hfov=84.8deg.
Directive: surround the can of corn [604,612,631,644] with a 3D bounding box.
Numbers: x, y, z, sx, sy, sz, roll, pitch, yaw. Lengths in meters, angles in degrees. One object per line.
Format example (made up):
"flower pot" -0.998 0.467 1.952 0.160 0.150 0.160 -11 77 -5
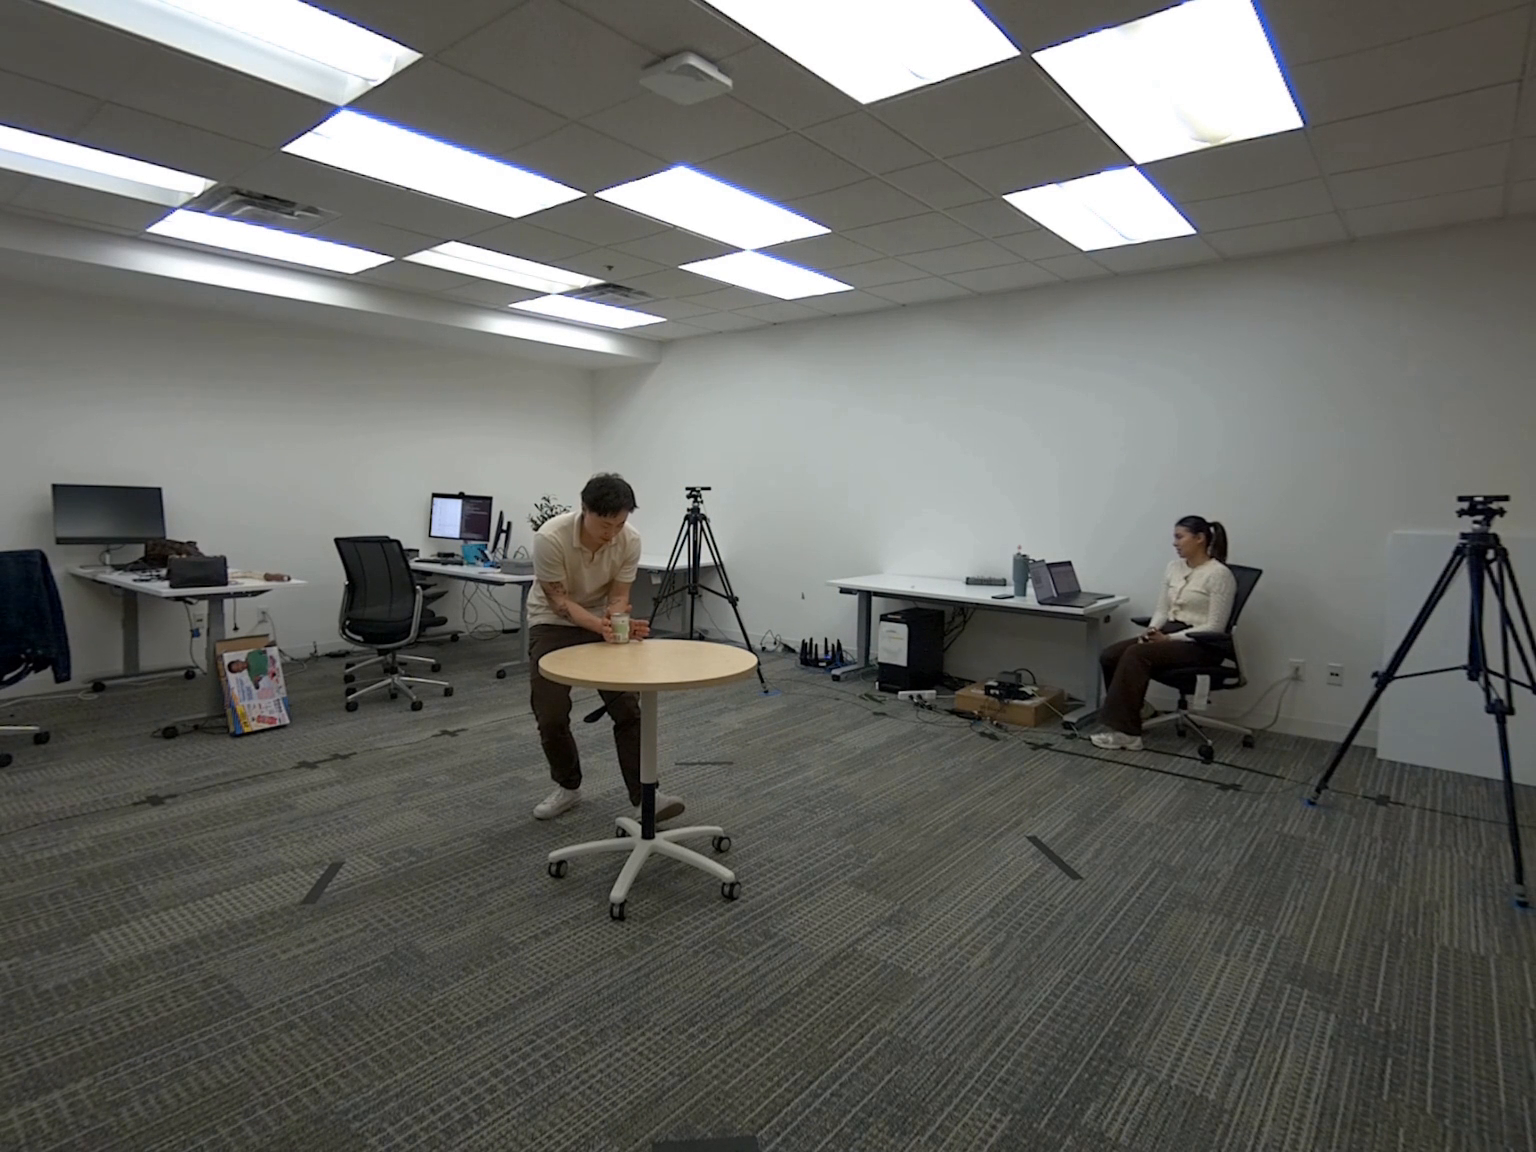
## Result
"can of corn" -0.604 0.207 3.301 0.074 0.111 0.074 -4 1 -2
